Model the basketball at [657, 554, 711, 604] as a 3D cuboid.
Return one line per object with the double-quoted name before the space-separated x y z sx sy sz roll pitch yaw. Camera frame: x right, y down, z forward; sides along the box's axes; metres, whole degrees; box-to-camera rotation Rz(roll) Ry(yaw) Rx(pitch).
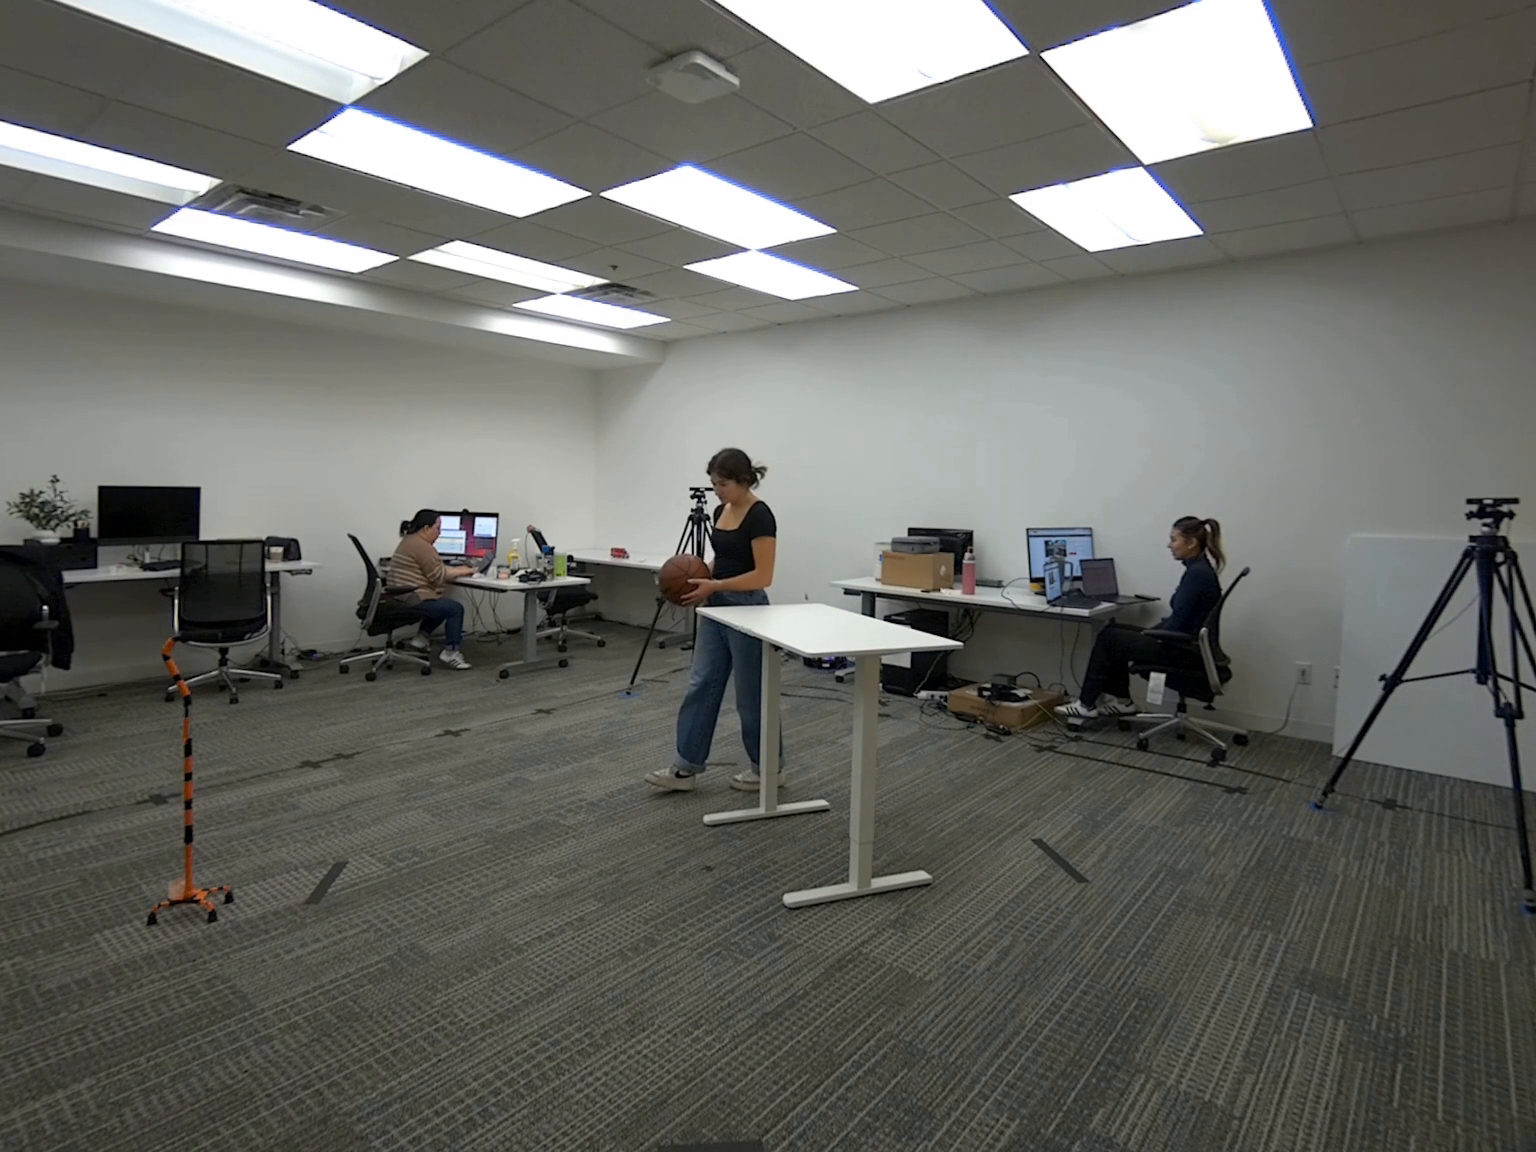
"basketball" -0.388 0.009 3.812 0.235 0.235 0.237 1 4 -2
